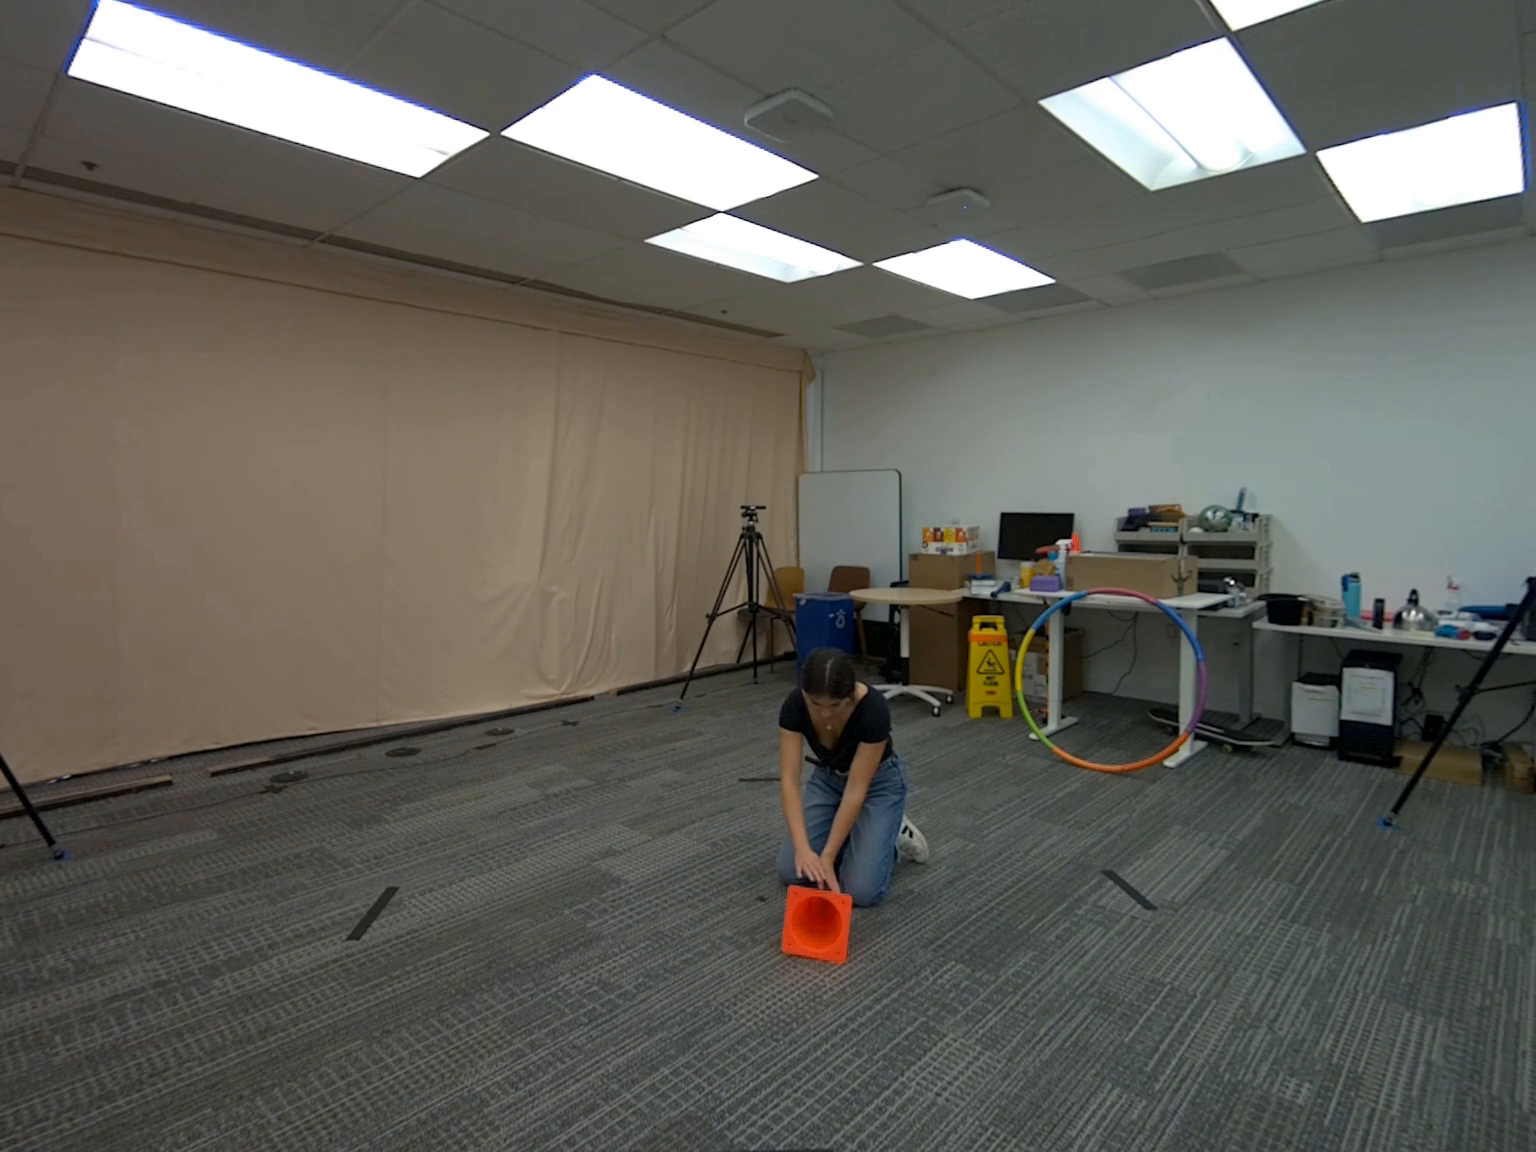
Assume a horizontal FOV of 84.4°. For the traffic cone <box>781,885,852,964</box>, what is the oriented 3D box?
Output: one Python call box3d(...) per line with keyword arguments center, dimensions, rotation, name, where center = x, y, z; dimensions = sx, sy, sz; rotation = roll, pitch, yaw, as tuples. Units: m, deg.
box3d(center=(0.173, 1.105, 2.777), dimensions=(0.206, 0.205, 0.377), rotation=(11, -8, 11), name="traffic cone")
